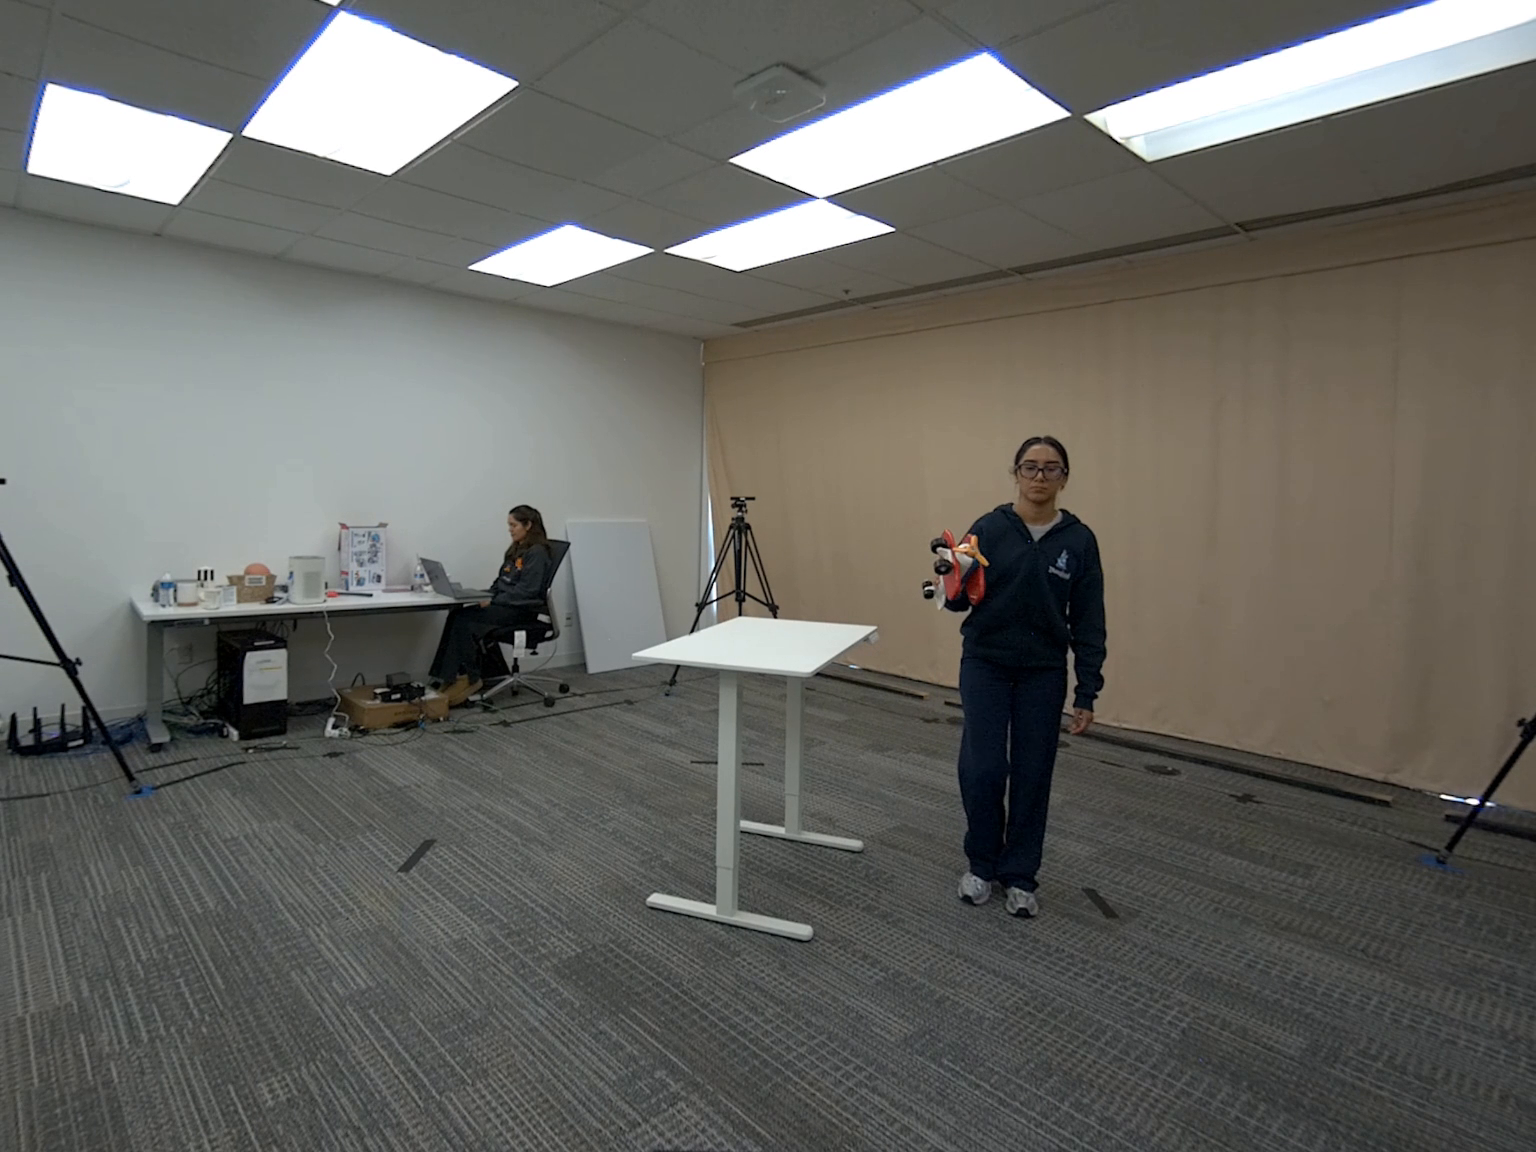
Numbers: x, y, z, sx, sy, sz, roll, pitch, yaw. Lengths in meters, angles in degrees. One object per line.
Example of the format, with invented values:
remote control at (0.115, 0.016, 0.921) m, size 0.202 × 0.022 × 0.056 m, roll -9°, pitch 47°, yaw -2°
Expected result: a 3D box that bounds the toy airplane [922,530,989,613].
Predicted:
toy airplane at (0.577, -0.022, 2.704) m, size 0.156 × 0.253 × 0.257 m, roll 2°, pitch -11°, yaw -1°
